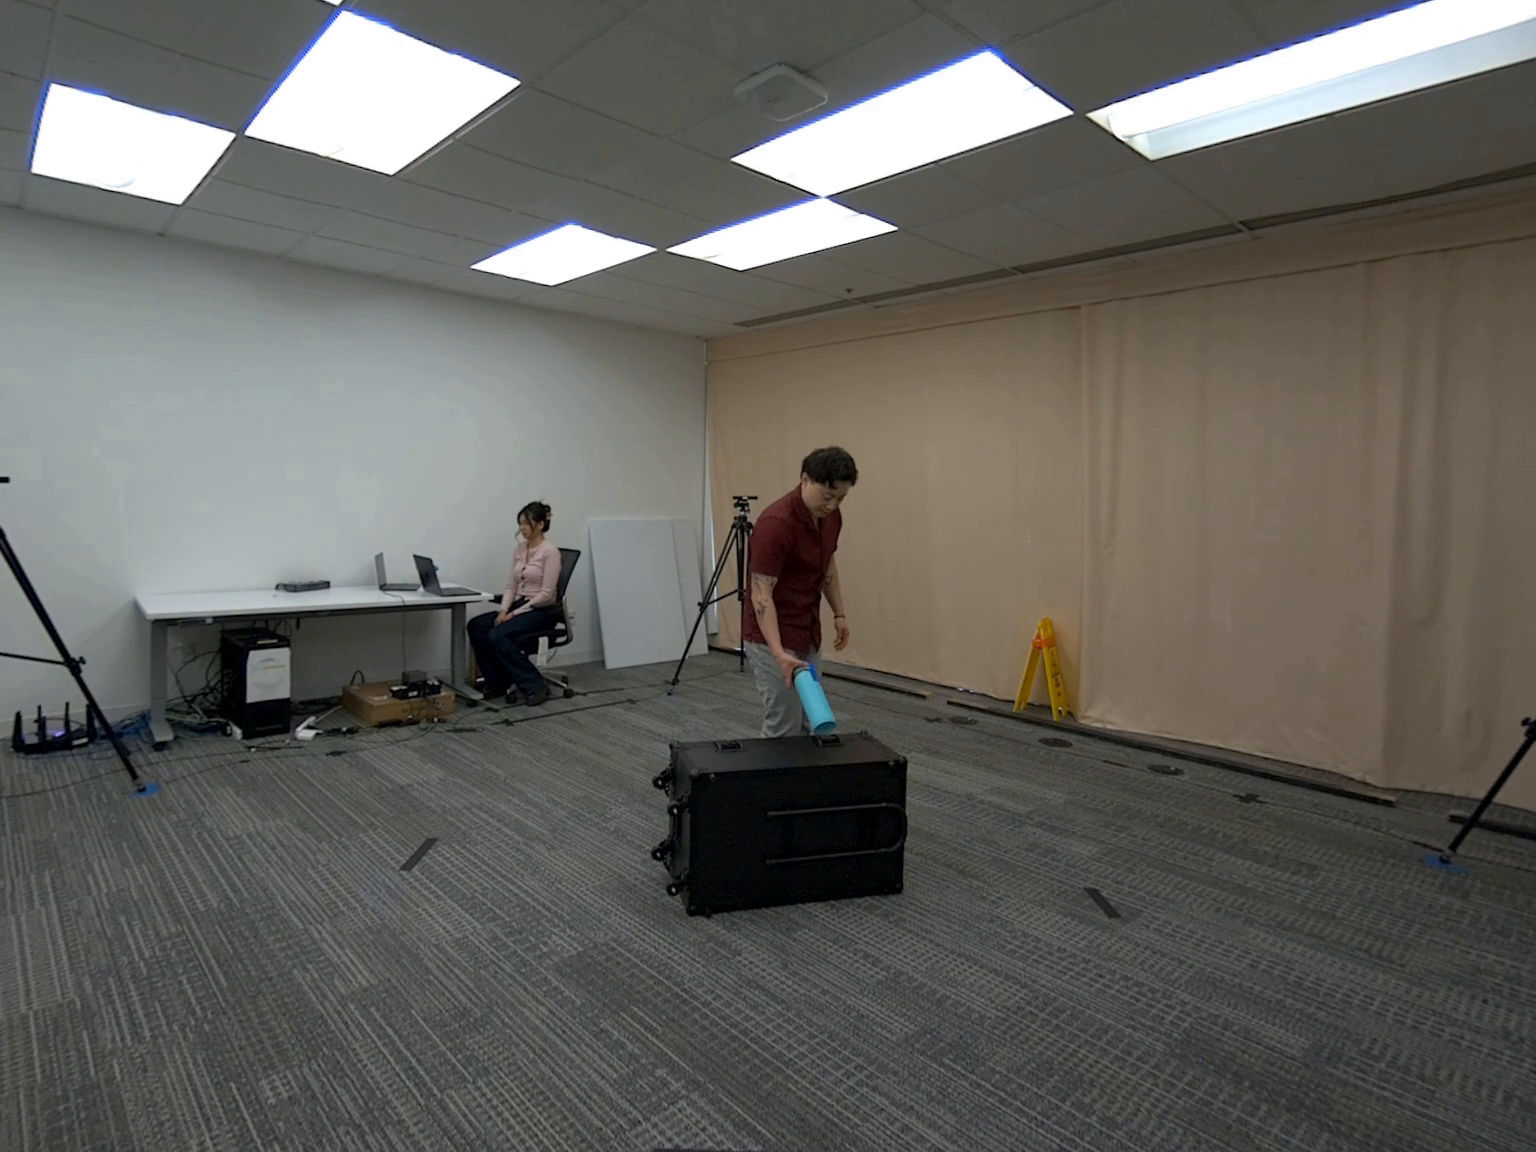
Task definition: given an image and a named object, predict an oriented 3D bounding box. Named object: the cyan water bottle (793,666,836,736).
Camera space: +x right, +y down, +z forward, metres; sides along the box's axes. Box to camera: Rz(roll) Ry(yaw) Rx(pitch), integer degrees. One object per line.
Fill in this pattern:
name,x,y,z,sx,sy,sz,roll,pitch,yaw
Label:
cyan water bottle,0.153,0.452,3.065,0.091,0.091,0.291,0,46,-20
